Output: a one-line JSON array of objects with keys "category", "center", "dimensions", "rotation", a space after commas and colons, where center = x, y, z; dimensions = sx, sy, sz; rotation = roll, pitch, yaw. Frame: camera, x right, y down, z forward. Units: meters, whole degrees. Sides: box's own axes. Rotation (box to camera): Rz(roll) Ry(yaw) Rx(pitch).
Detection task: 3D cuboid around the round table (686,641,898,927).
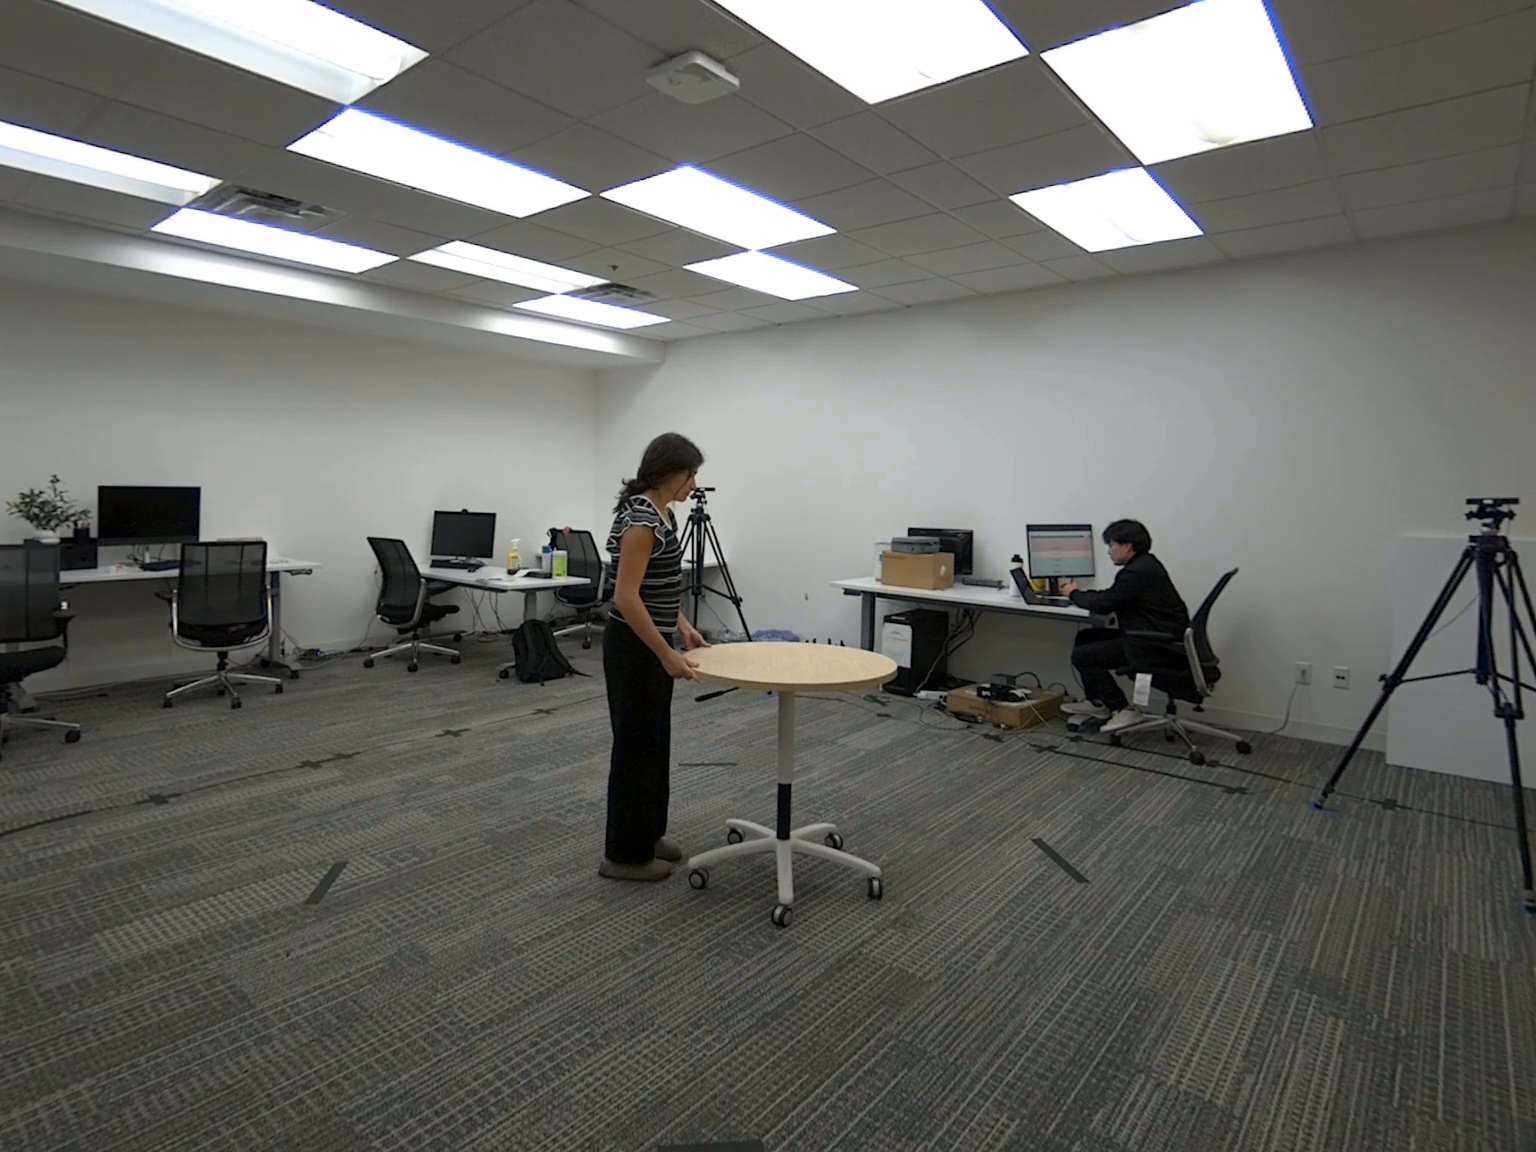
[{"category": "round table", "center": [0.043, 0.688, 3.036], "dimensions": [0.784, 0.784, 0.789], "rotation": [1, 4, -2]}]
